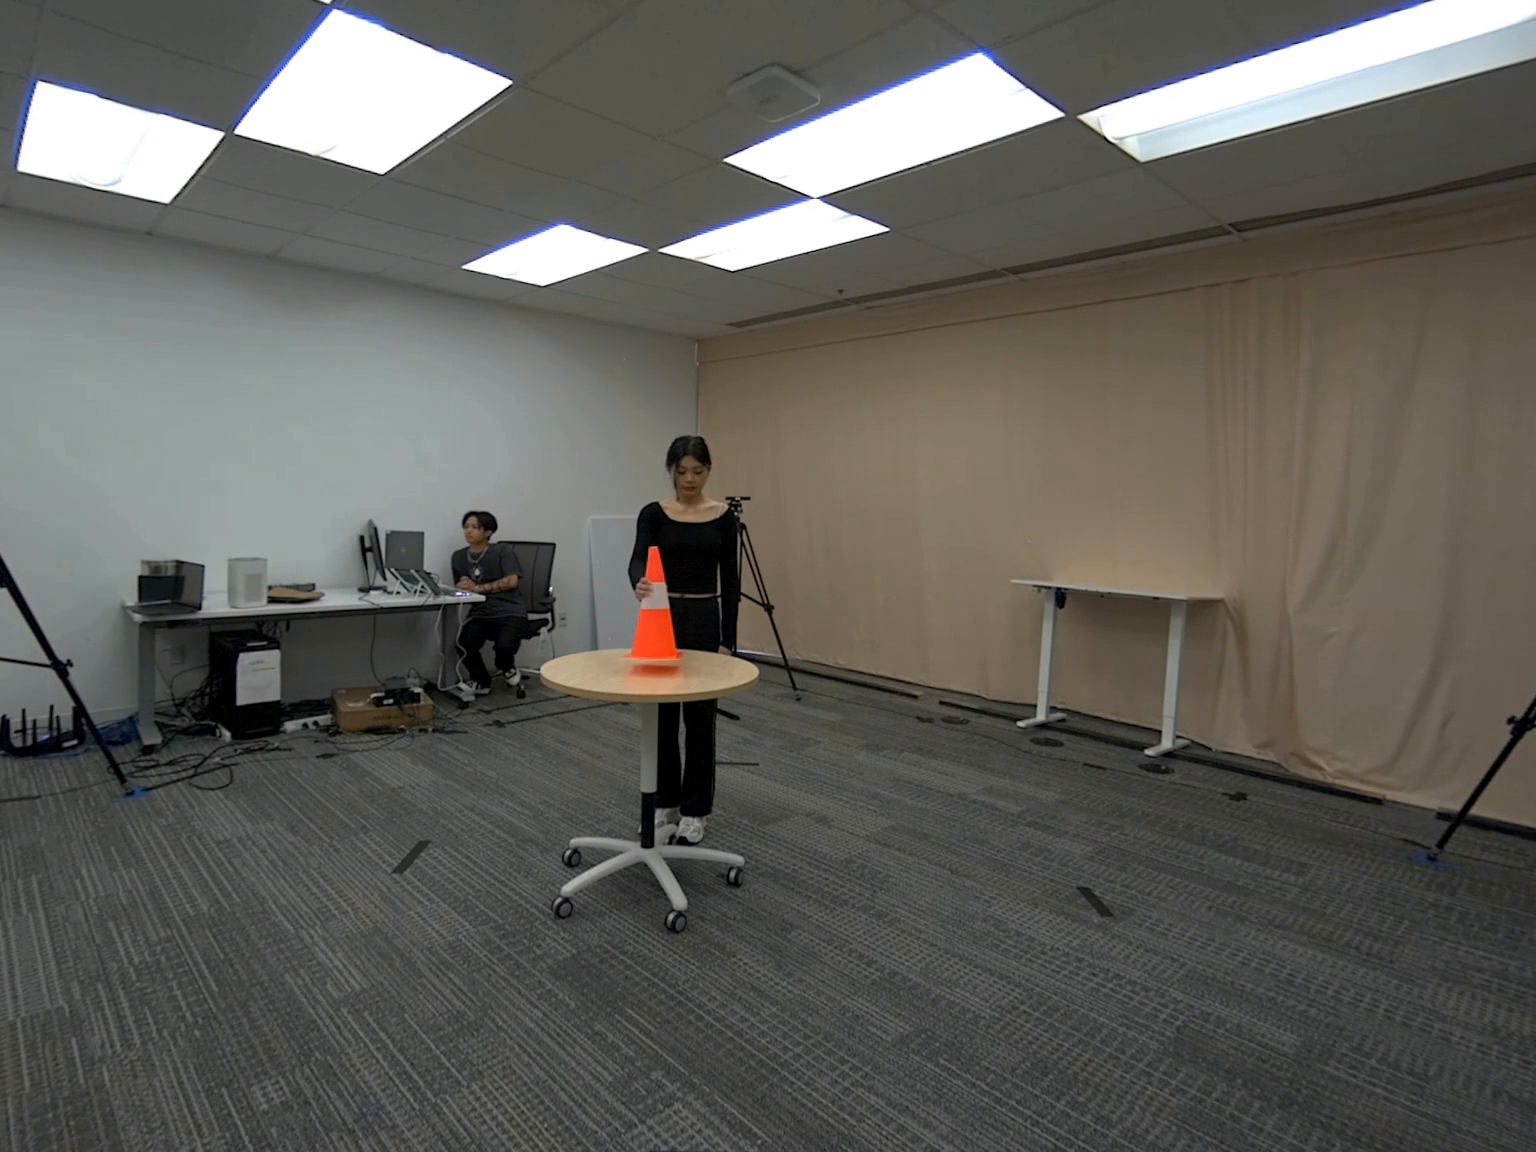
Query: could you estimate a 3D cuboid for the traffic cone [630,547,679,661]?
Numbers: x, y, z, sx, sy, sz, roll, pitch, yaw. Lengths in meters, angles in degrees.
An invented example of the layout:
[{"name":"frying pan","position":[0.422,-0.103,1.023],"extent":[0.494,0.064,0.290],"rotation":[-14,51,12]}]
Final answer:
[{"name":"traffic cone","position":[-0.416,0.094,2.945],"extent":[0.205,0.383,0.203],"rotation":[-1,1,1]}]
